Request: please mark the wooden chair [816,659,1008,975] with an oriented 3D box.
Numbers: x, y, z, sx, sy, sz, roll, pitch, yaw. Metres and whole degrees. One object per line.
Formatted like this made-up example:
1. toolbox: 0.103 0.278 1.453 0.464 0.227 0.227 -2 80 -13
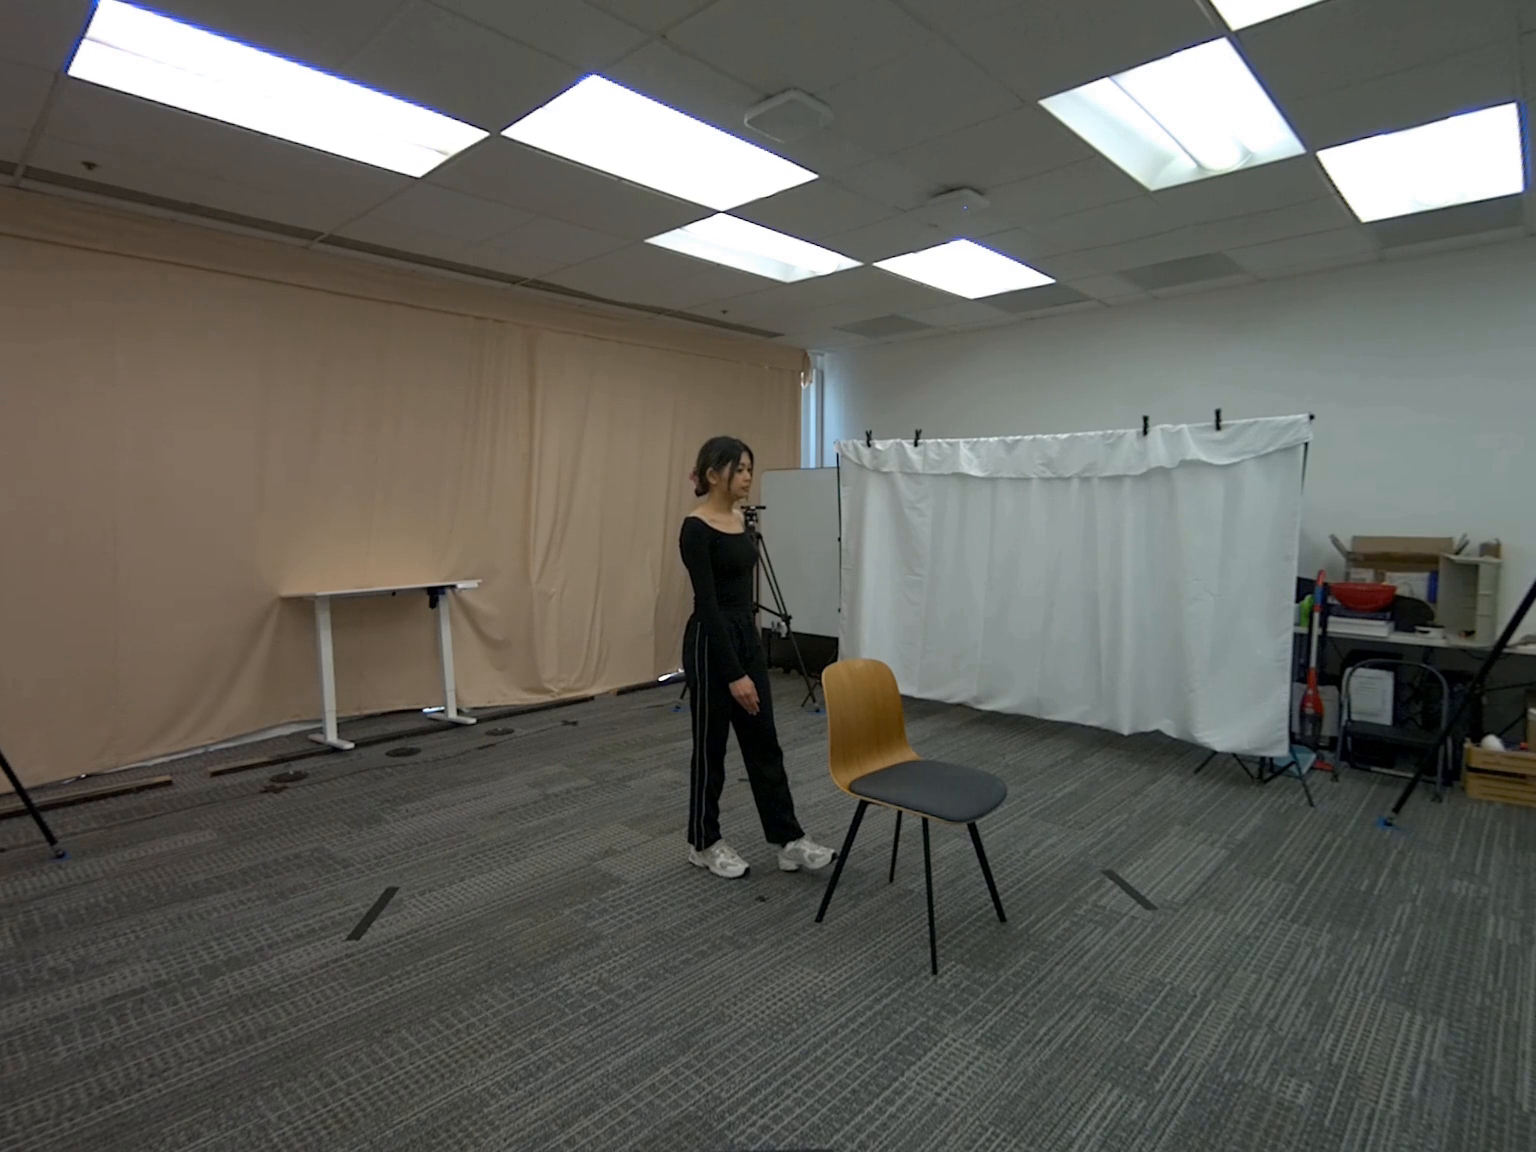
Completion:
1. wooden chair: 0.488 0.732 2.775 0.539 0.877 0.463 -3 0 43
